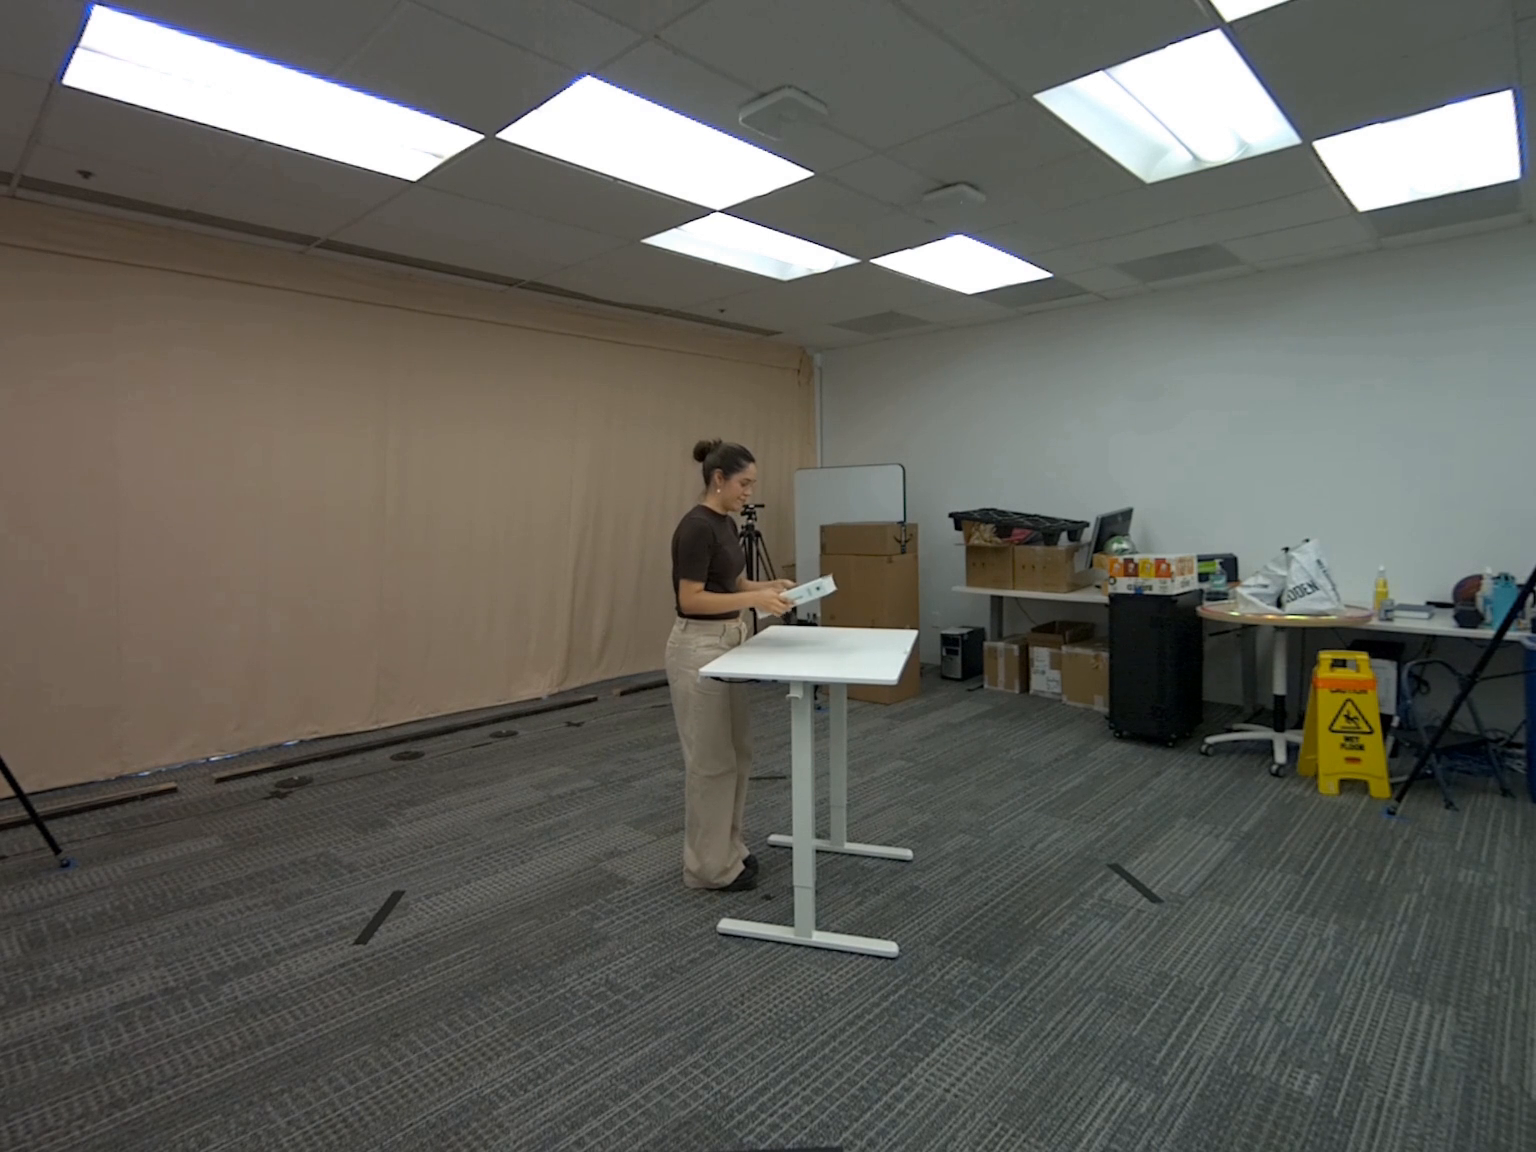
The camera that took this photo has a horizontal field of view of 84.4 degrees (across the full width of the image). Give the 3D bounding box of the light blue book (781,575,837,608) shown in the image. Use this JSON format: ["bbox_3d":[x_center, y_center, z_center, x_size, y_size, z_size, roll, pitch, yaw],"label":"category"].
[{"bbox_3d":[0.103,0.066,2.999,0.265,0.059,0.188,-21,-2,18],"label":"light blue book"}]
